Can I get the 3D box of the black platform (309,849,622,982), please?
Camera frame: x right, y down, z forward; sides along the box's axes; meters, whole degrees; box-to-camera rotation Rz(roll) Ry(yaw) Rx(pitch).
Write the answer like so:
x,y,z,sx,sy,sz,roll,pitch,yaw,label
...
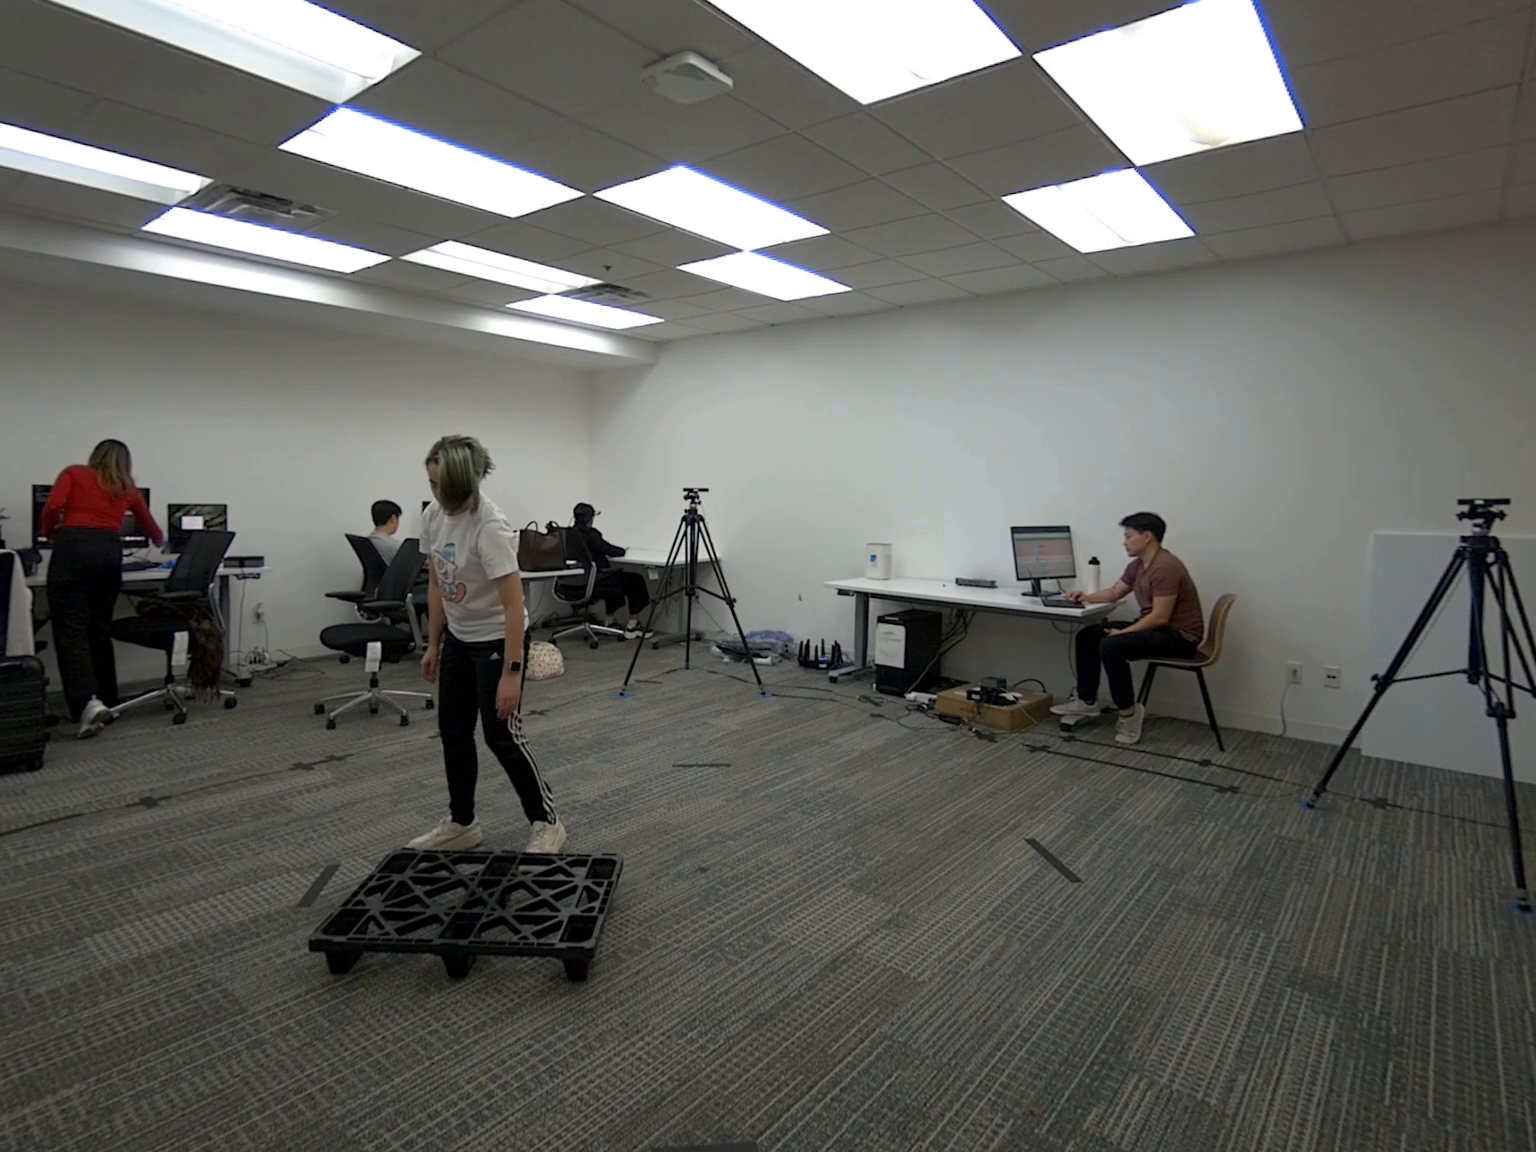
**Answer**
x,y,z,sx,sy,sz,roll,pitch,yaw,label
-0.889,1.039,2.626,0.807,0.142,0.607,1,7,1,black platform
